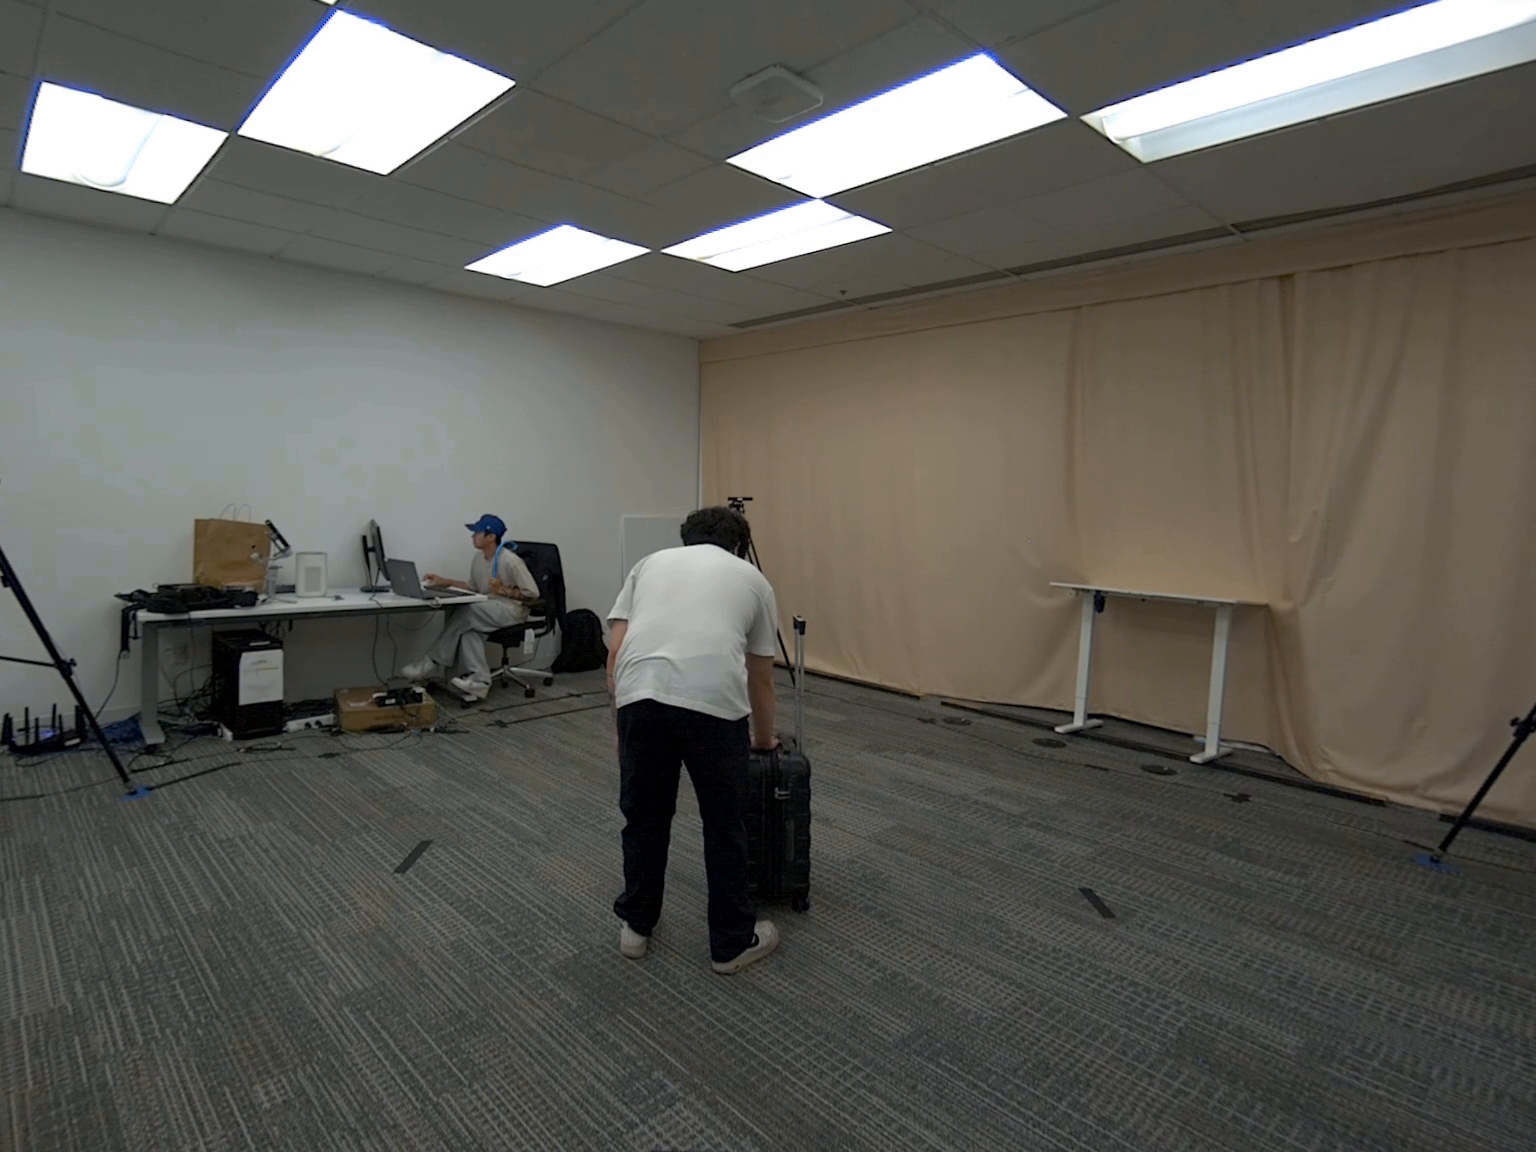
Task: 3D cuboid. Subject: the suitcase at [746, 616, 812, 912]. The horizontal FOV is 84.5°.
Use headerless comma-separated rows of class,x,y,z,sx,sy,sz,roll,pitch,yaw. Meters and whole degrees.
suitcase,0.002,0.651,2.947,0.256,0.976,0.386,-2,3,-4
